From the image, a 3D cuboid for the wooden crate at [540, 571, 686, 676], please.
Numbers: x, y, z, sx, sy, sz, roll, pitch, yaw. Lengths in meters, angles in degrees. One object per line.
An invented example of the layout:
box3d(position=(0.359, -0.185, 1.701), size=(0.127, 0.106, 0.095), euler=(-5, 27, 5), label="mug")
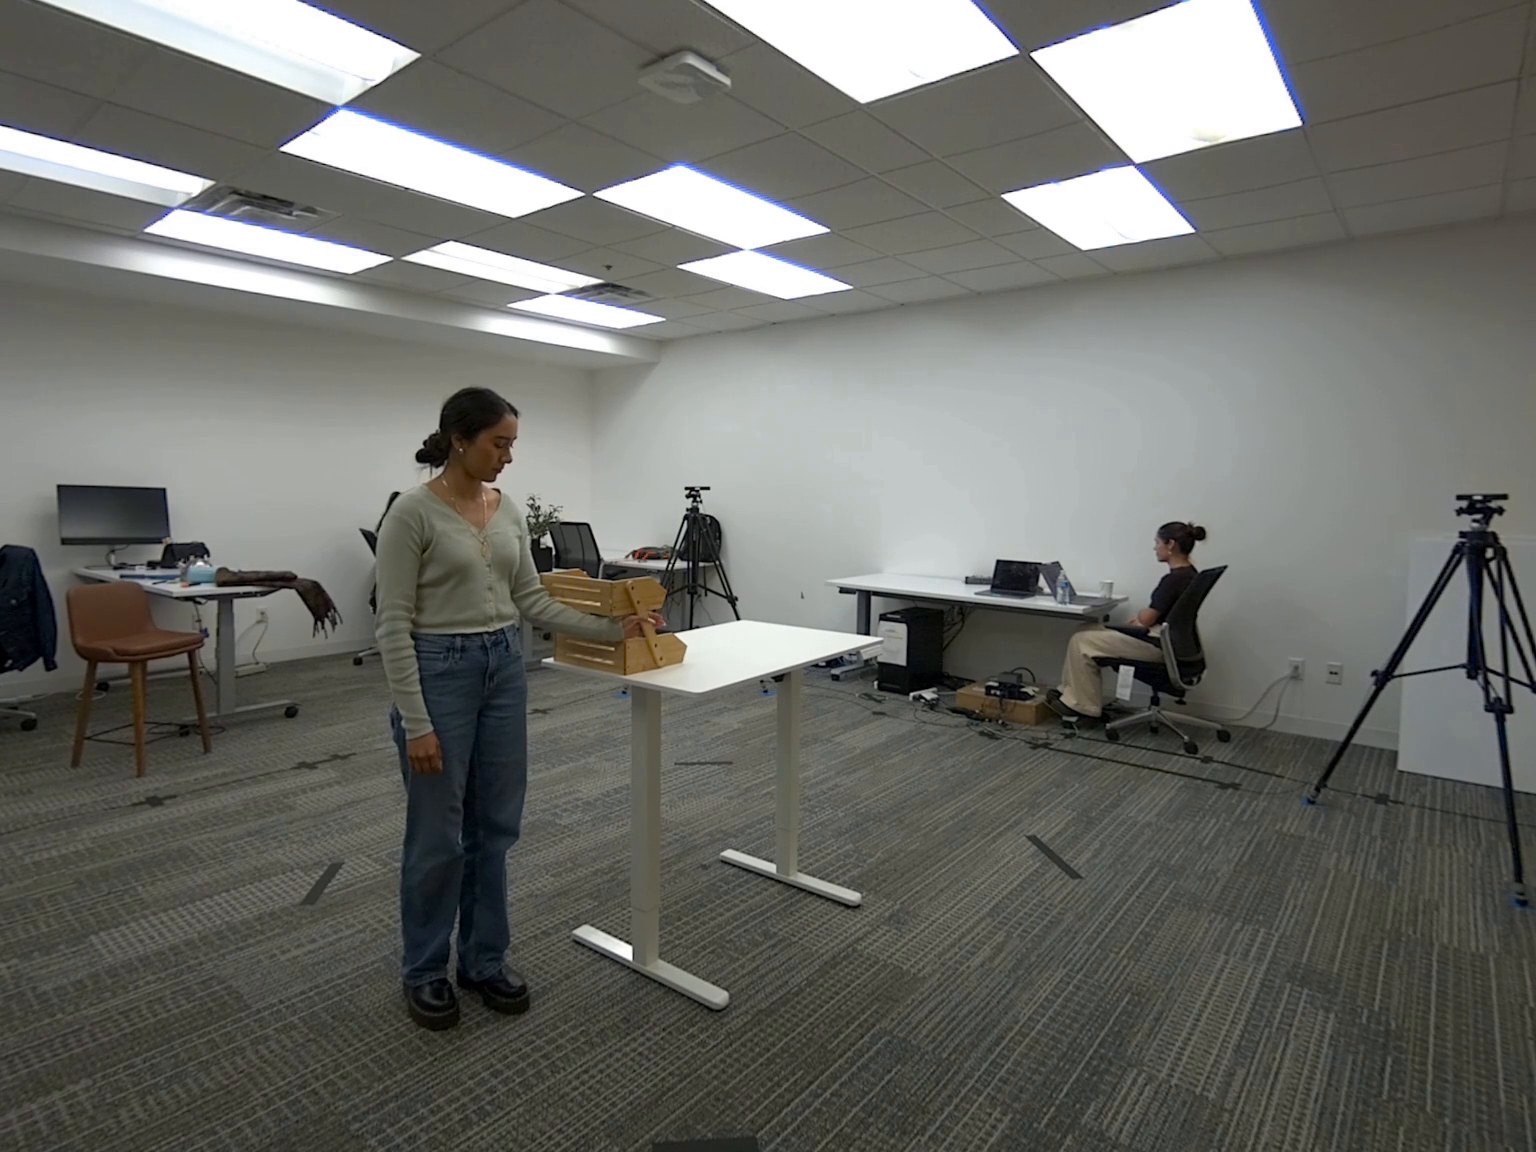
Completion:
box3d(position=(-0.451, 0.116, 2.456), size=(0.335, 0.272, 0.294), euler=(5, 7, 37), label="wooden crate")
